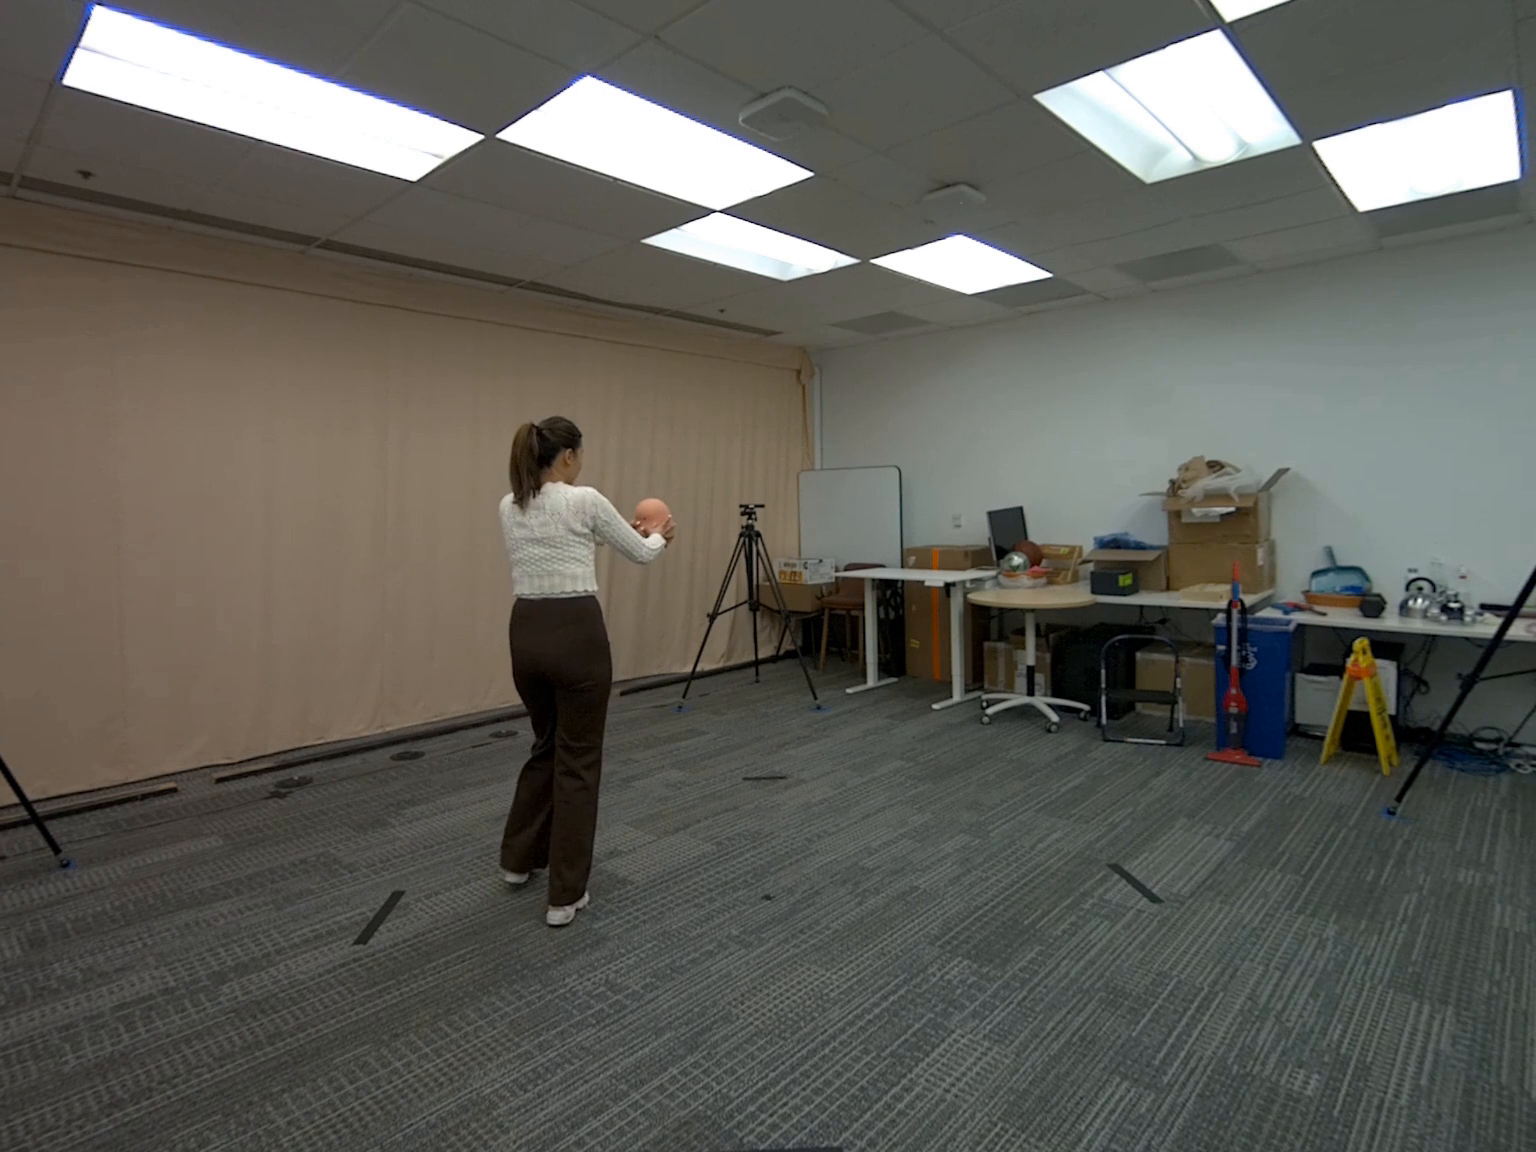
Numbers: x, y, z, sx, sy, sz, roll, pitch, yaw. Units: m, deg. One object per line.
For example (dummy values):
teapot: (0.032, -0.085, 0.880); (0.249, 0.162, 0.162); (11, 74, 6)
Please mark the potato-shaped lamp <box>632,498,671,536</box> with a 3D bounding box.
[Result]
potato-shaped lamp: (-0.471, -0.222, 3.448); (0.175, 0.196, 0.163); (9, 20, 18)
